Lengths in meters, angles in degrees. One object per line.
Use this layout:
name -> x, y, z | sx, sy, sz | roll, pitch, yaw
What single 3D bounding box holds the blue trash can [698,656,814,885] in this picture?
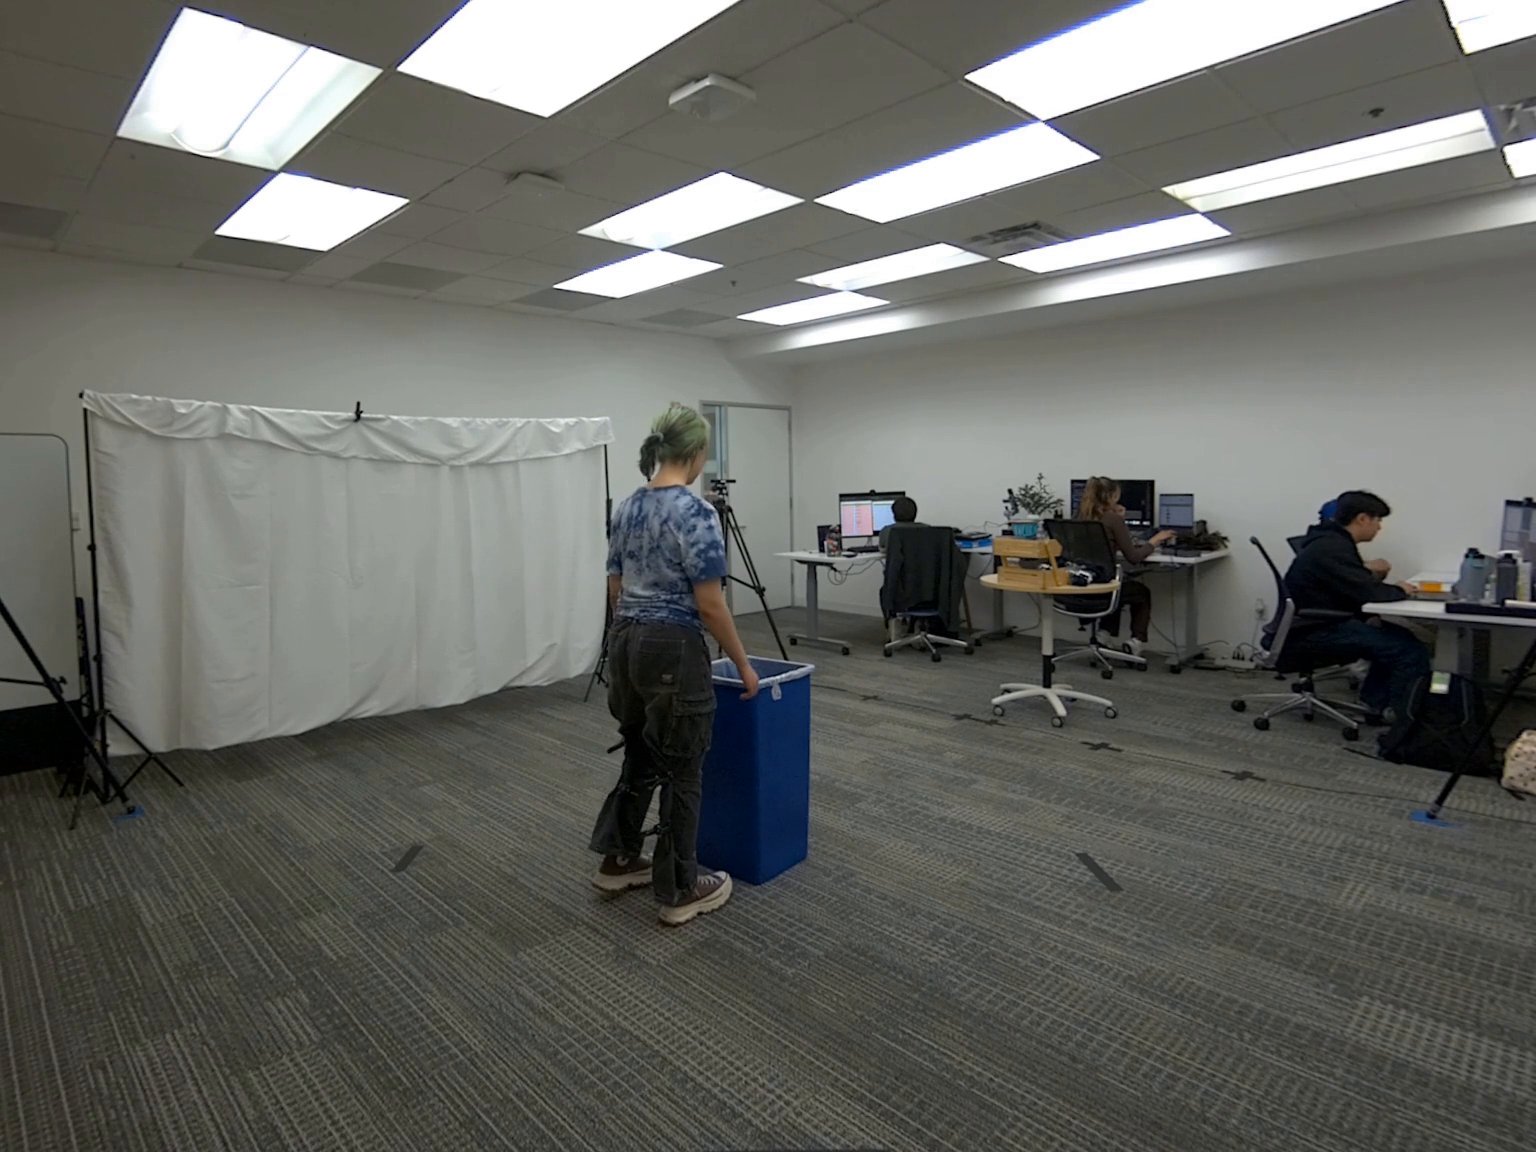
blue trash can -> -0.066, 0.688, 3.126 | 0.385, 0.711, 0.368 | 3, 5, 40
